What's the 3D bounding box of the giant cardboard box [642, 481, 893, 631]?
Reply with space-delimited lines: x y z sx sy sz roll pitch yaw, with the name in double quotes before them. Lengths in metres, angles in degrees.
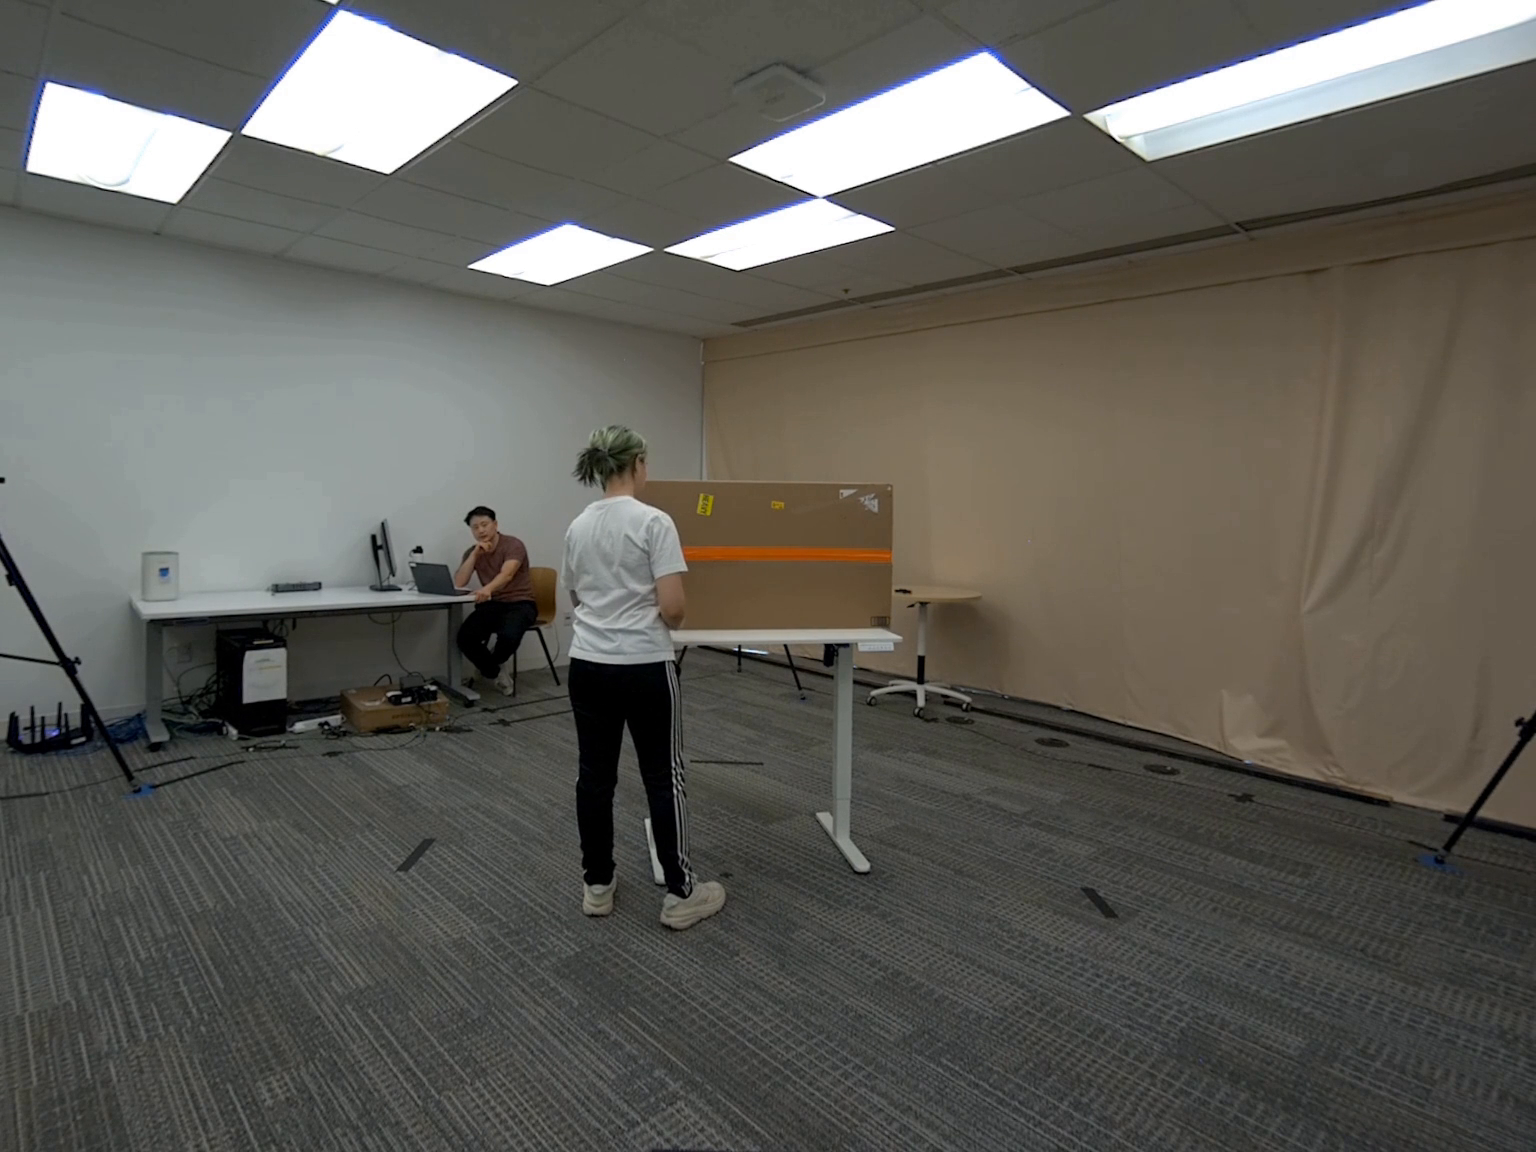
"giant cardboard box" -0.056 -0.099 3.469 1.019 0.582 0.452 -1 4 -10
